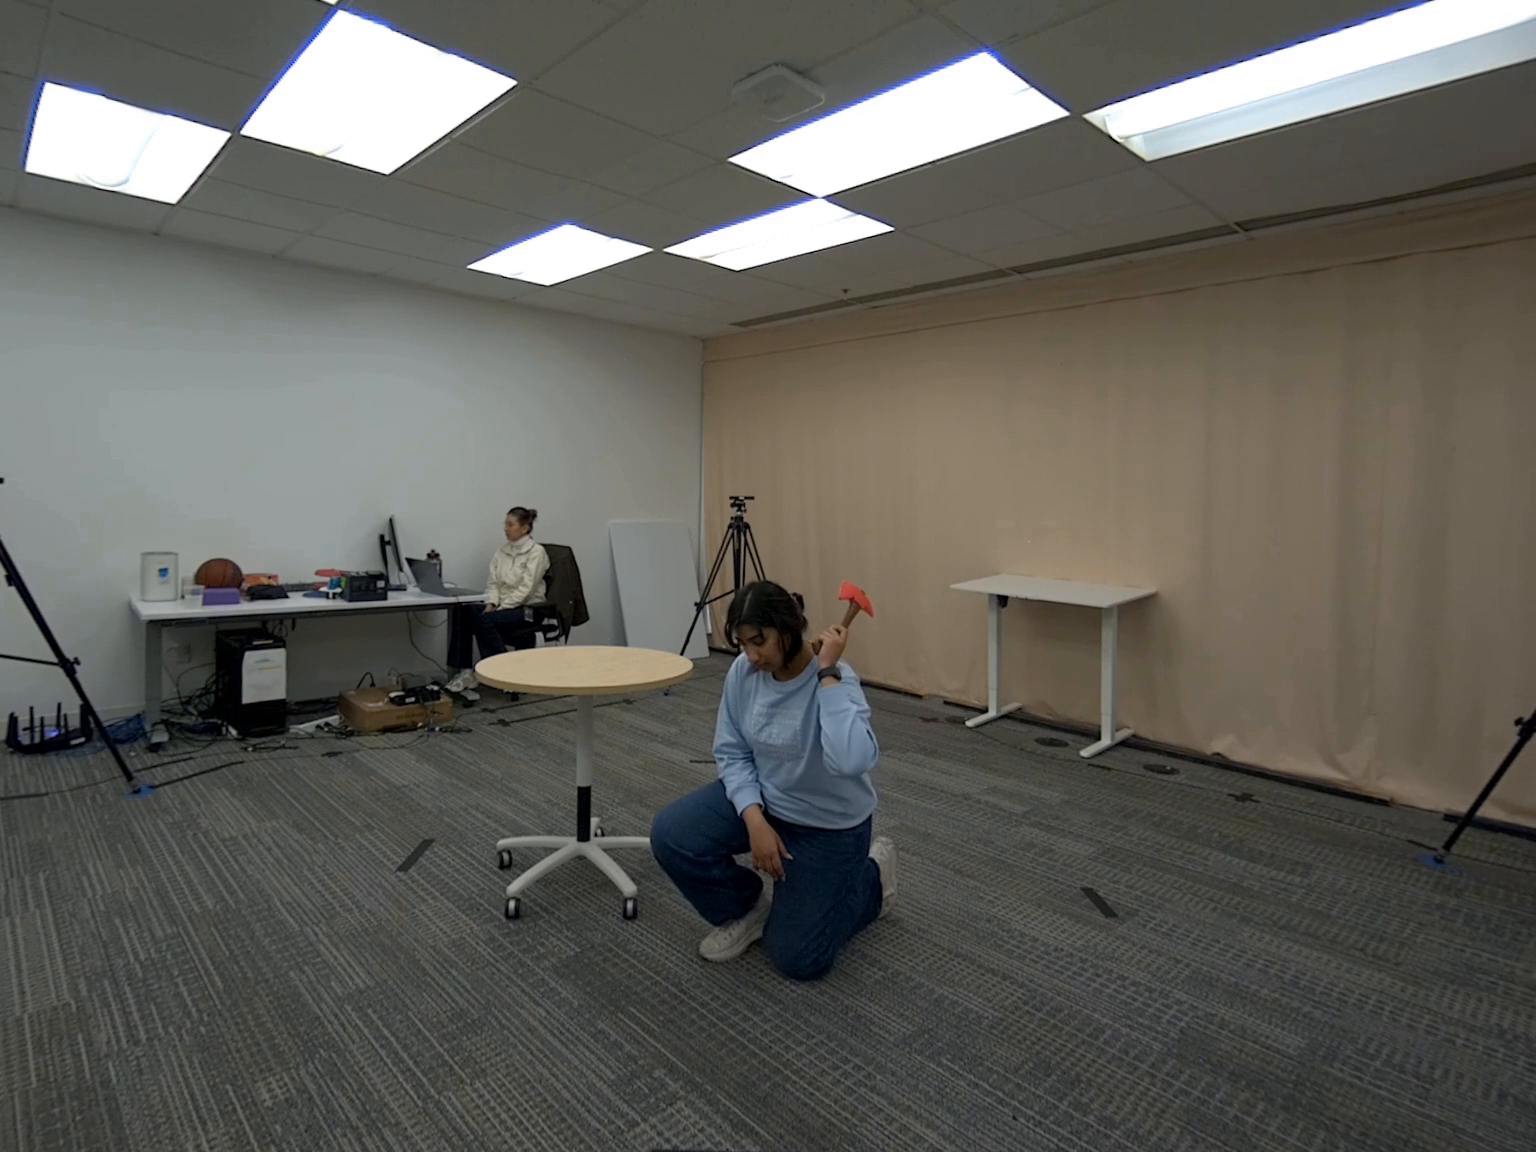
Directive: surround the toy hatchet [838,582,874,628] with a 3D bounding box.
[{"bbox_3d":[0.191,0.166,2.316,0.029,0.271,0.133,20,-8,-23],"label":"toy hatchet"}]
